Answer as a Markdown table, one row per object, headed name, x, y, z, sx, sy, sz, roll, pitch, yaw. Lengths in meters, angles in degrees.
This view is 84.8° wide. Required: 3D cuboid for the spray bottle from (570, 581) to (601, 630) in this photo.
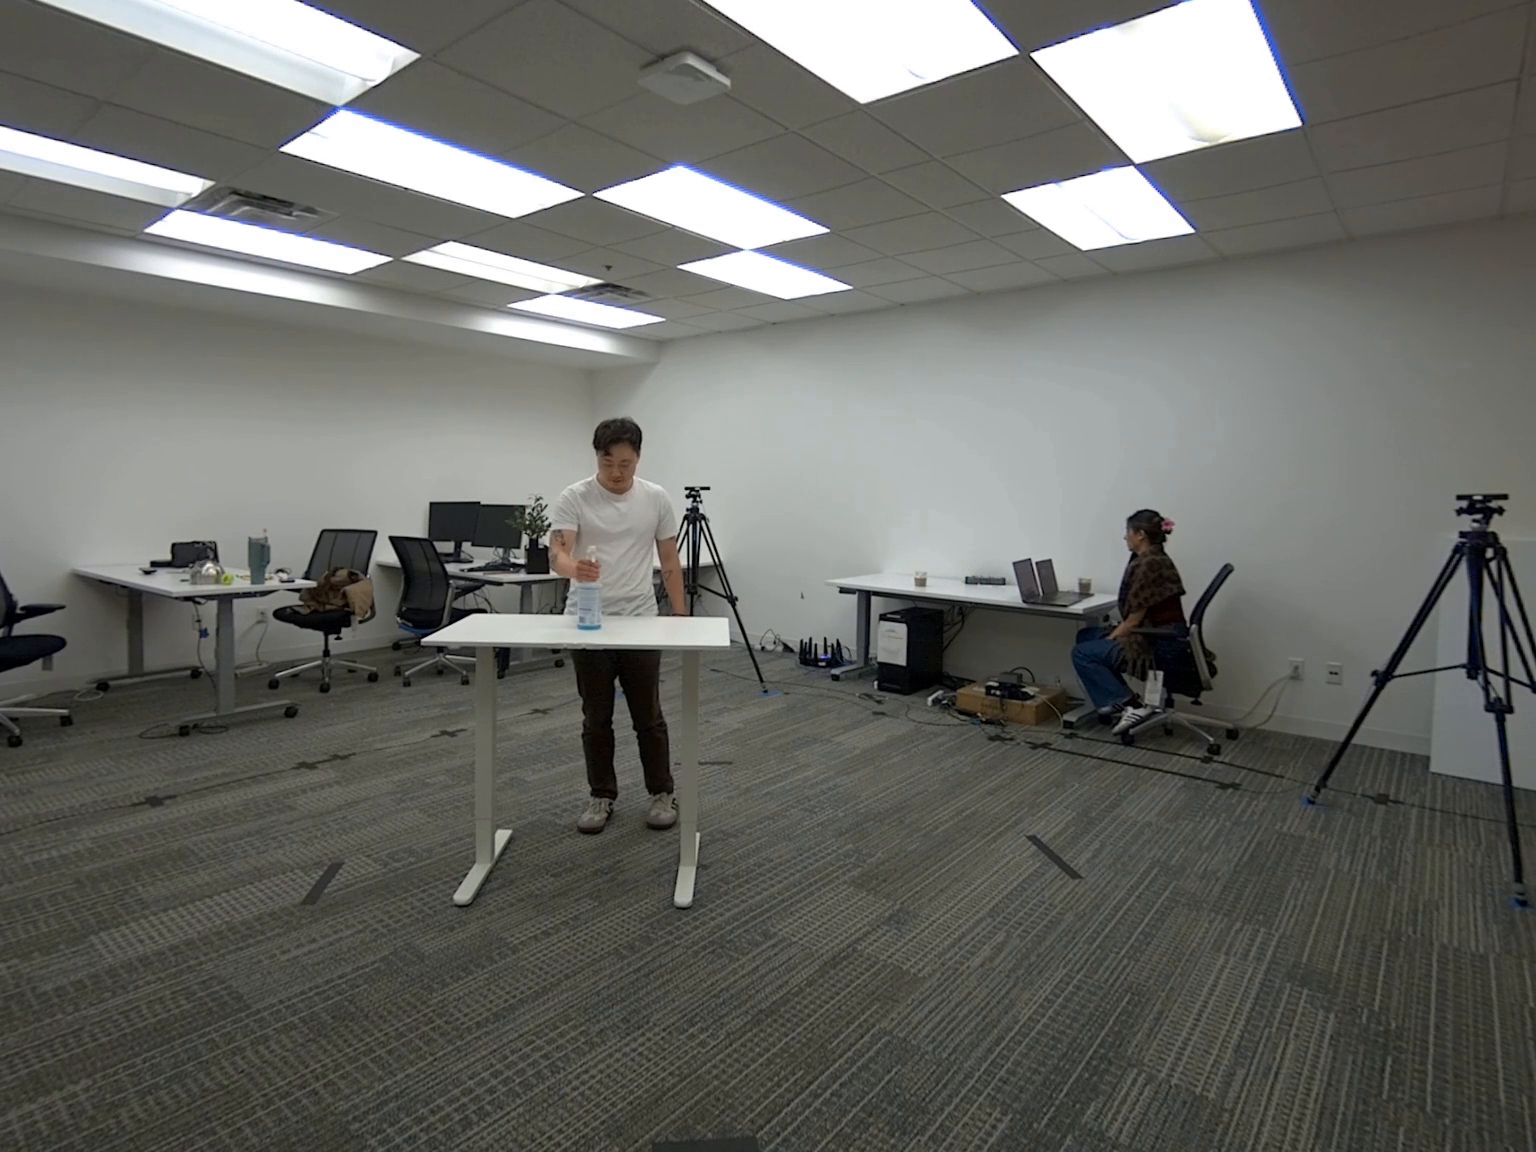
| name | x | y | z | sx | sy | sz | roll | pitch | yaw |
| --- | --- | --- | --- | --- | --- | --- | --- | --- | --- |
| spray bottle | -0.659 | 0.036 | 3.034 | 0.087 | 0.296 | 0.090 | 1 | 4 | 4 |
